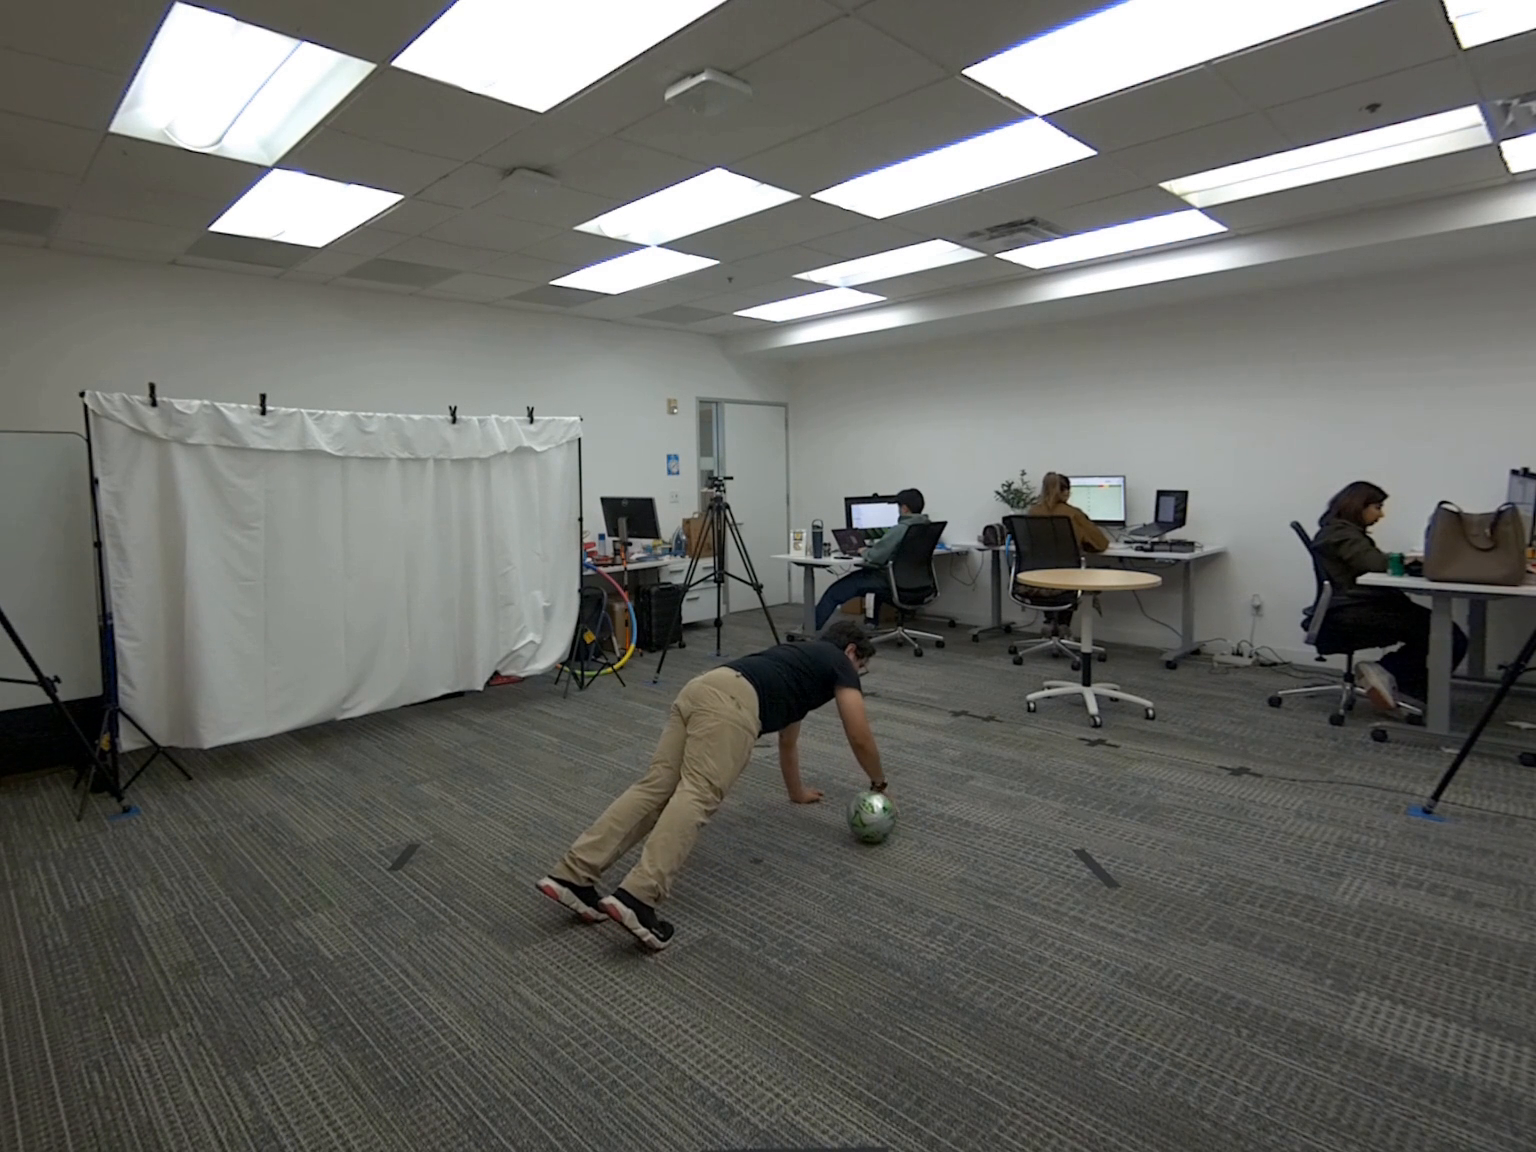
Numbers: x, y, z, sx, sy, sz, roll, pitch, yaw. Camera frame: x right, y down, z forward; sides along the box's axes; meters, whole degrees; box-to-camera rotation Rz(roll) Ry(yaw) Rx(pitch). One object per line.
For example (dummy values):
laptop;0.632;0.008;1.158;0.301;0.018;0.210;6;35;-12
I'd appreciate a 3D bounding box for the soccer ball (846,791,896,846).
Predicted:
soccer ball;0.396;0.917;3.265;0.187;0.187;0.188;-1;5;-2
